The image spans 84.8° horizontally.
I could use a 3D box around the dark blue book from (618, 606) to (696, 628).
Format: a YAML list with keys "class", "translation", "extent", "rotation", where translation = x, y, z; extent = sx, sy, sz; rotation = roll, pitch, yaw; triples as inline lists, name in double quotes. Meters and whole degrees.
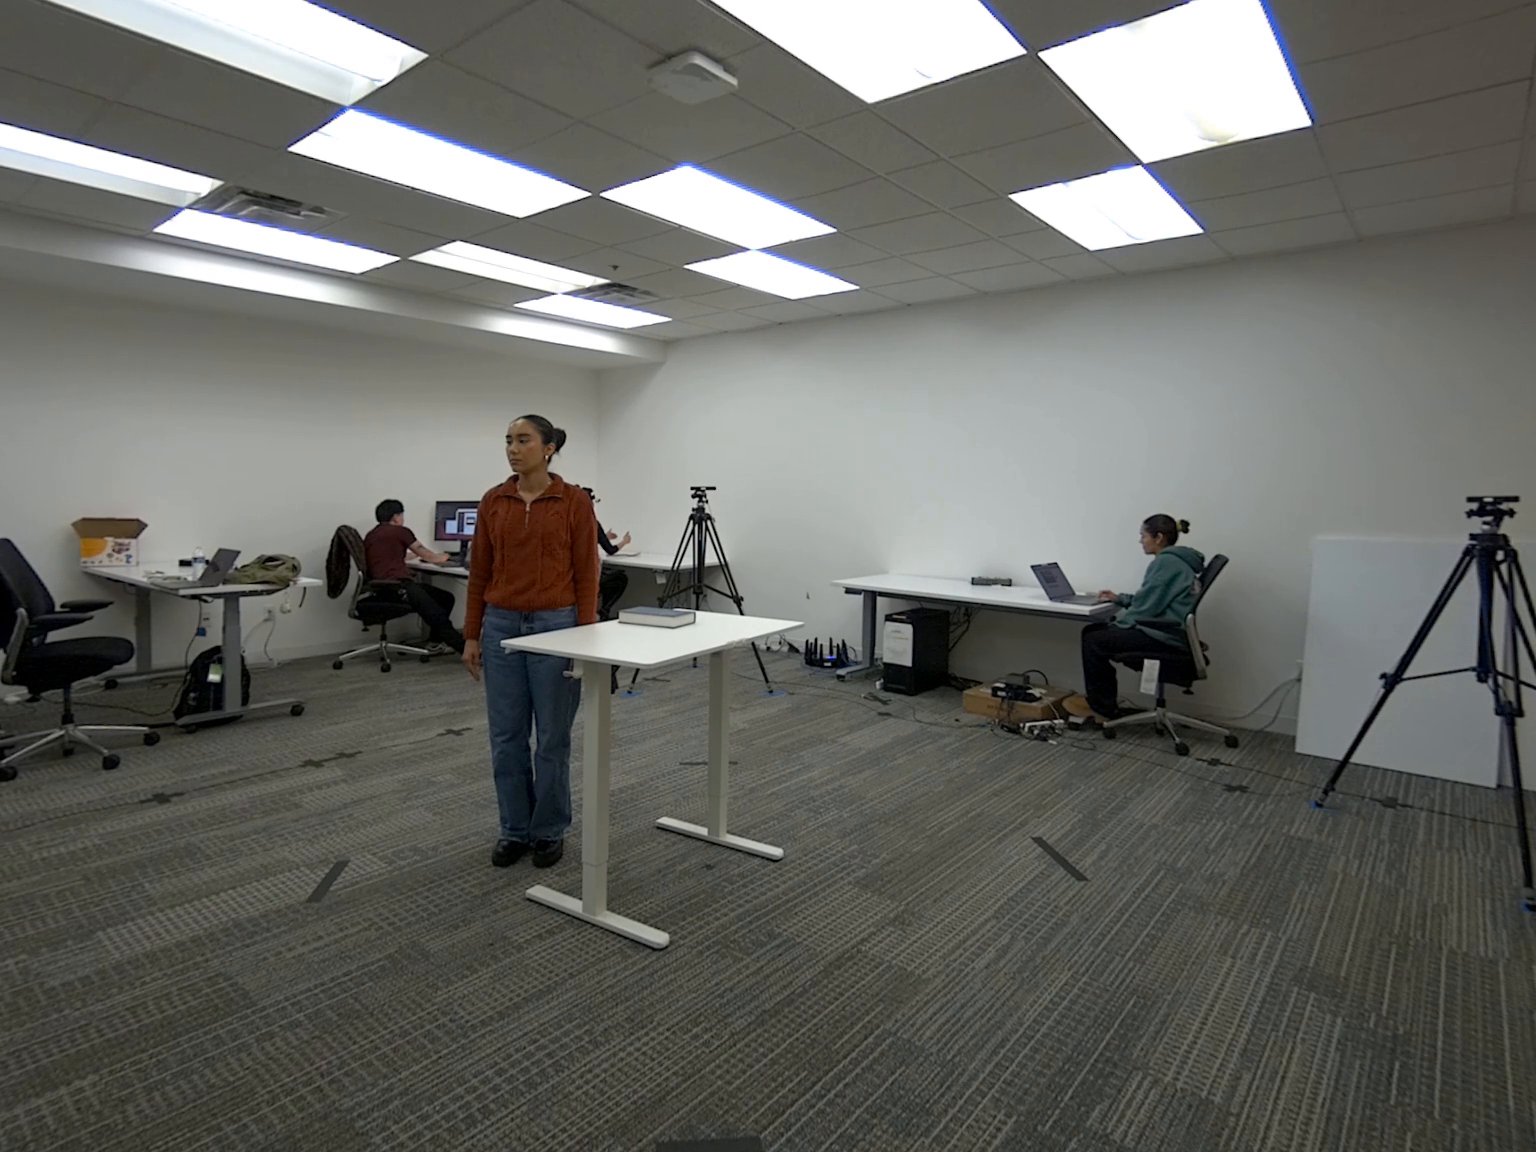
- class: "dark blue book"
  translation: [-0.423, 0.152, 3.173]
  extent: [0.252, 0.045, 0.160]
  rotation: [4, 6, 26]
